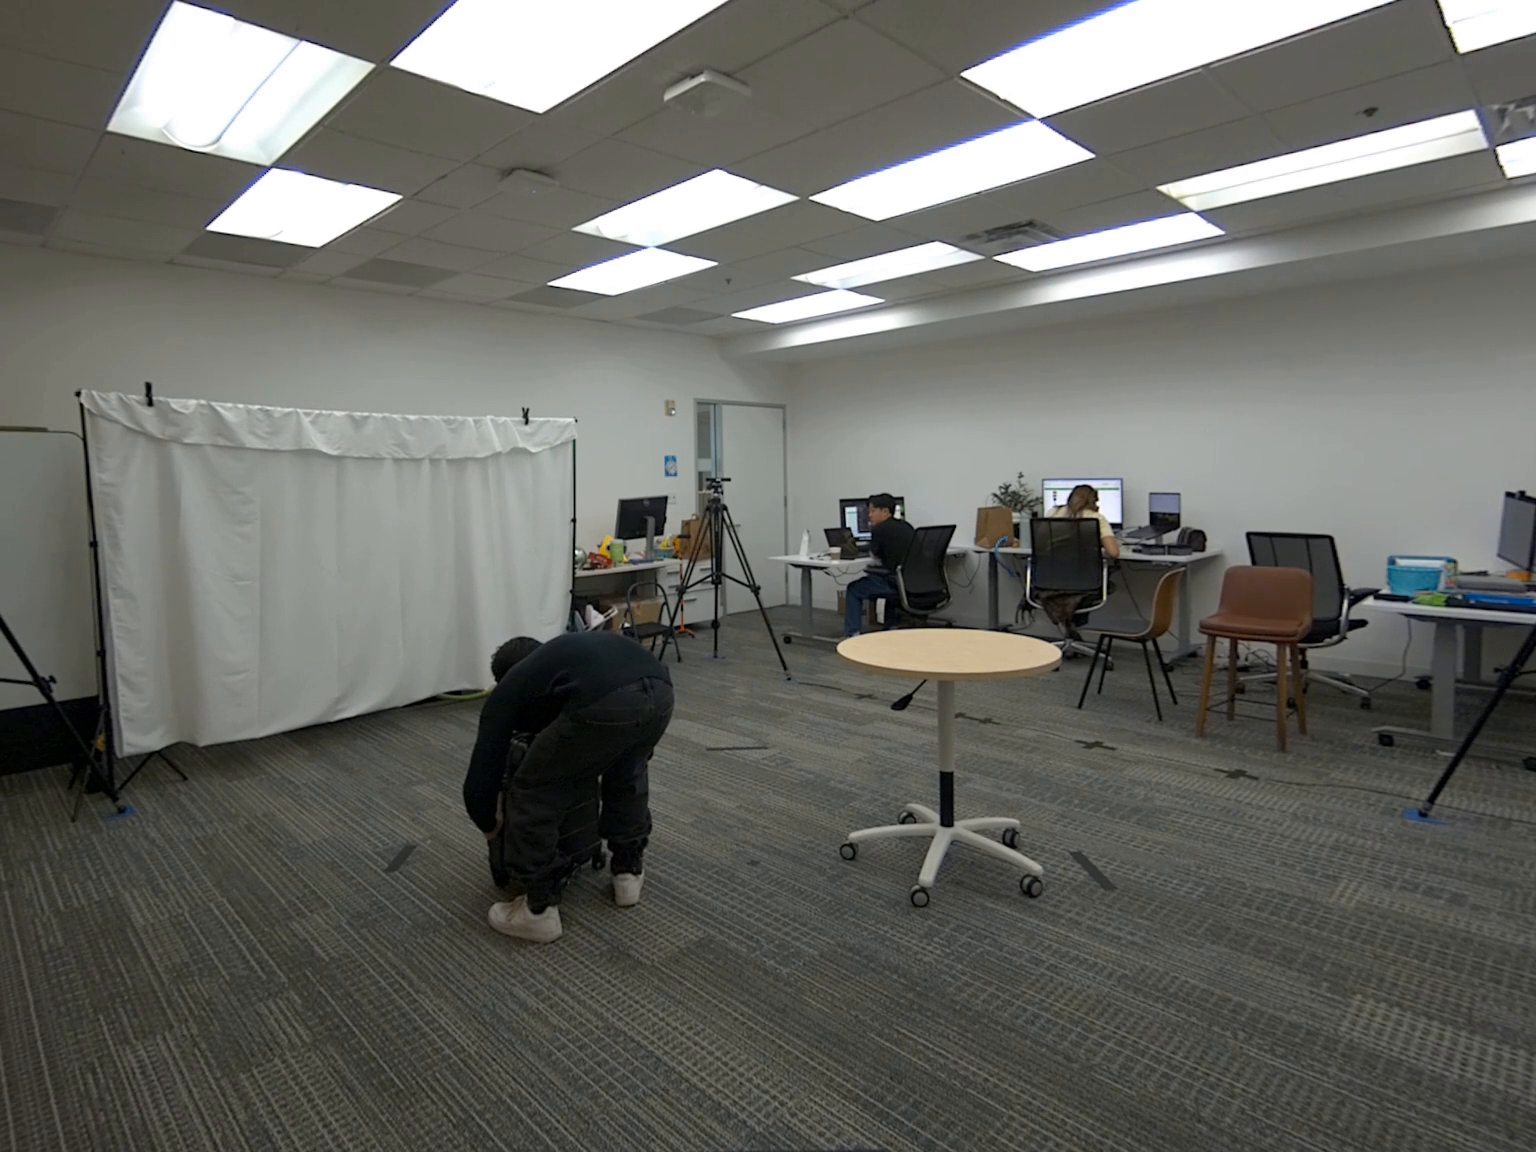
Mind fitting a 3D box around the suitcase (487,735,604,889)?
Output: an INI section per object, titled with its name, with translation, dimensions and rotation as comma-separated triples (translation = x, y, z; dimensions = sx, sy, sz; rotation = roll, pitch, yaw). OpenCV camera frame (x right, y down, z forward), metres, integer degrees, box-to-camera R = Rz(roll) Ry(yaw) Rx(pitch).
[suitcase]
translation = -0.787, 0.791, 3.007
dimensions = 0.255, 0.547, 0.366
rotation = 1, 5, 36
